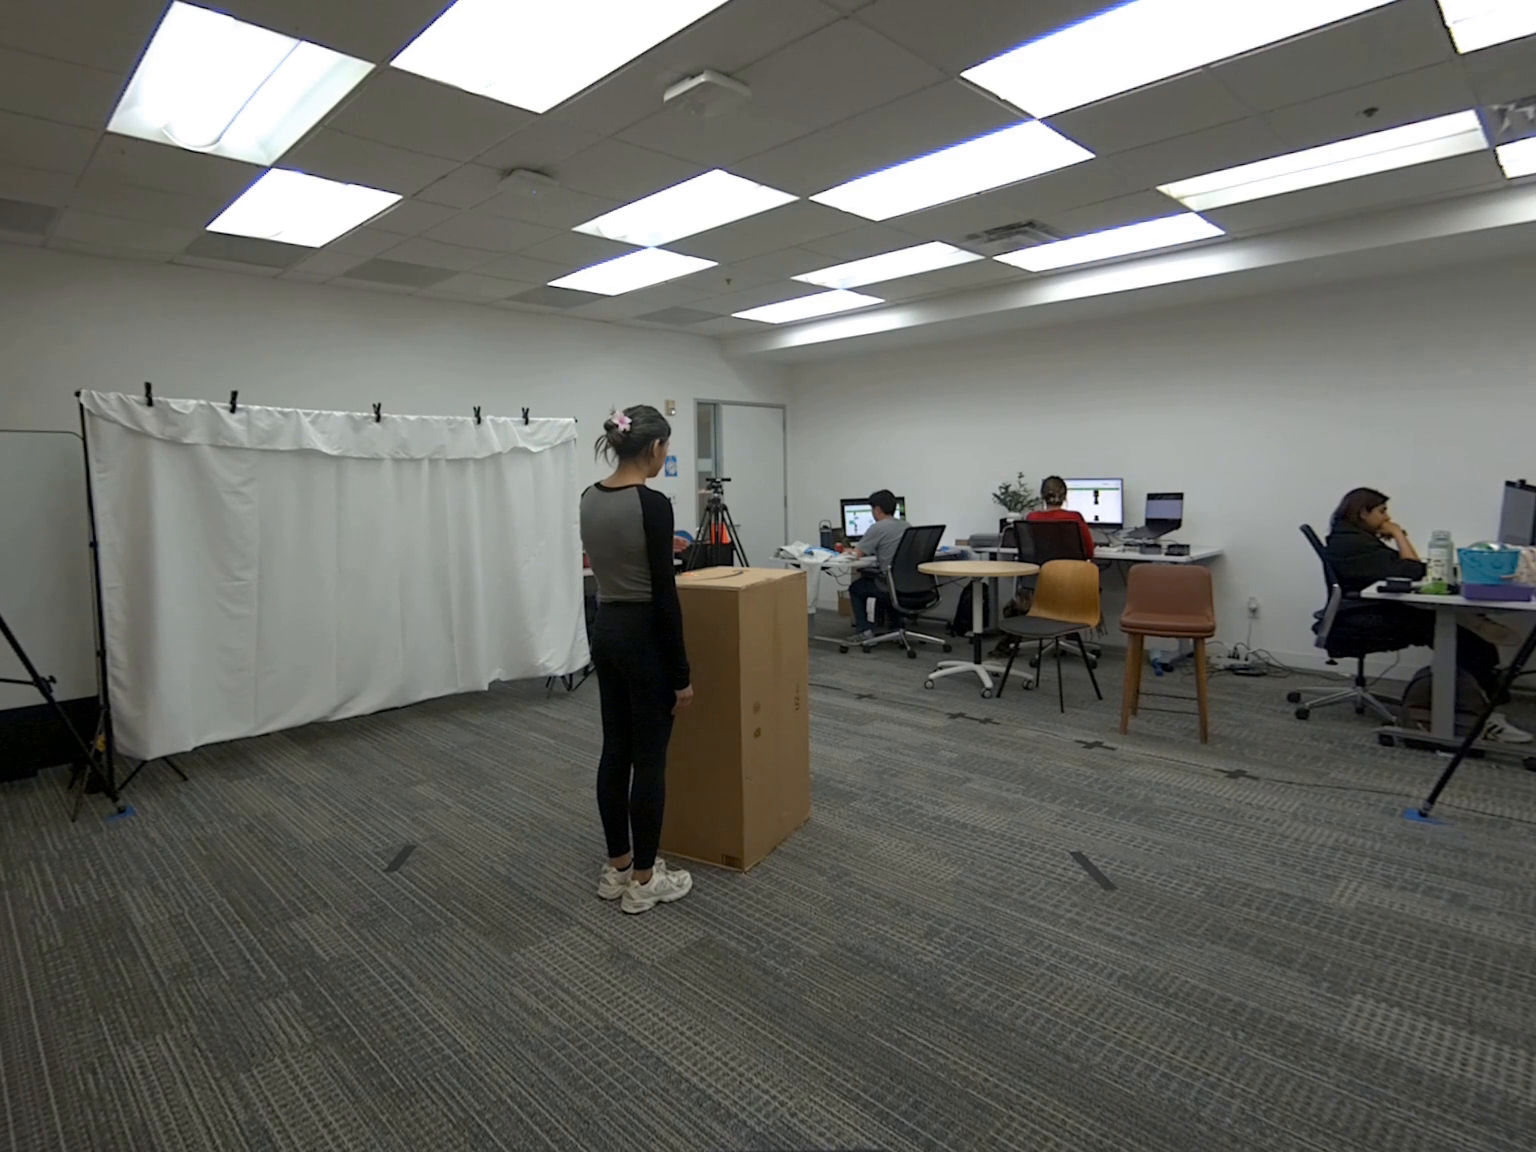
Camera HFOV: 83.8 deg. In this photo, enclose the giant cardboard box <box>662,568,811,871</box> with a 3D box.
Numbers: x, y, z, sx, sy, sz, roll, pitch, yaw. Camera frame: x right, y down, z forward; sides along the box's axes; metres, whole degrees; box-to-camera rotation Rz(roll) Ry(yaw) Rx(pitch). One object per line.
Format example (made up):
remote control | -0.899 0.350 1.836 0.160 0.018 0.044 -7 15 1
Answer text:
giant cardboard box | -0.150 0.510 3.340 0.458 1.023 0.572 2 5 27
